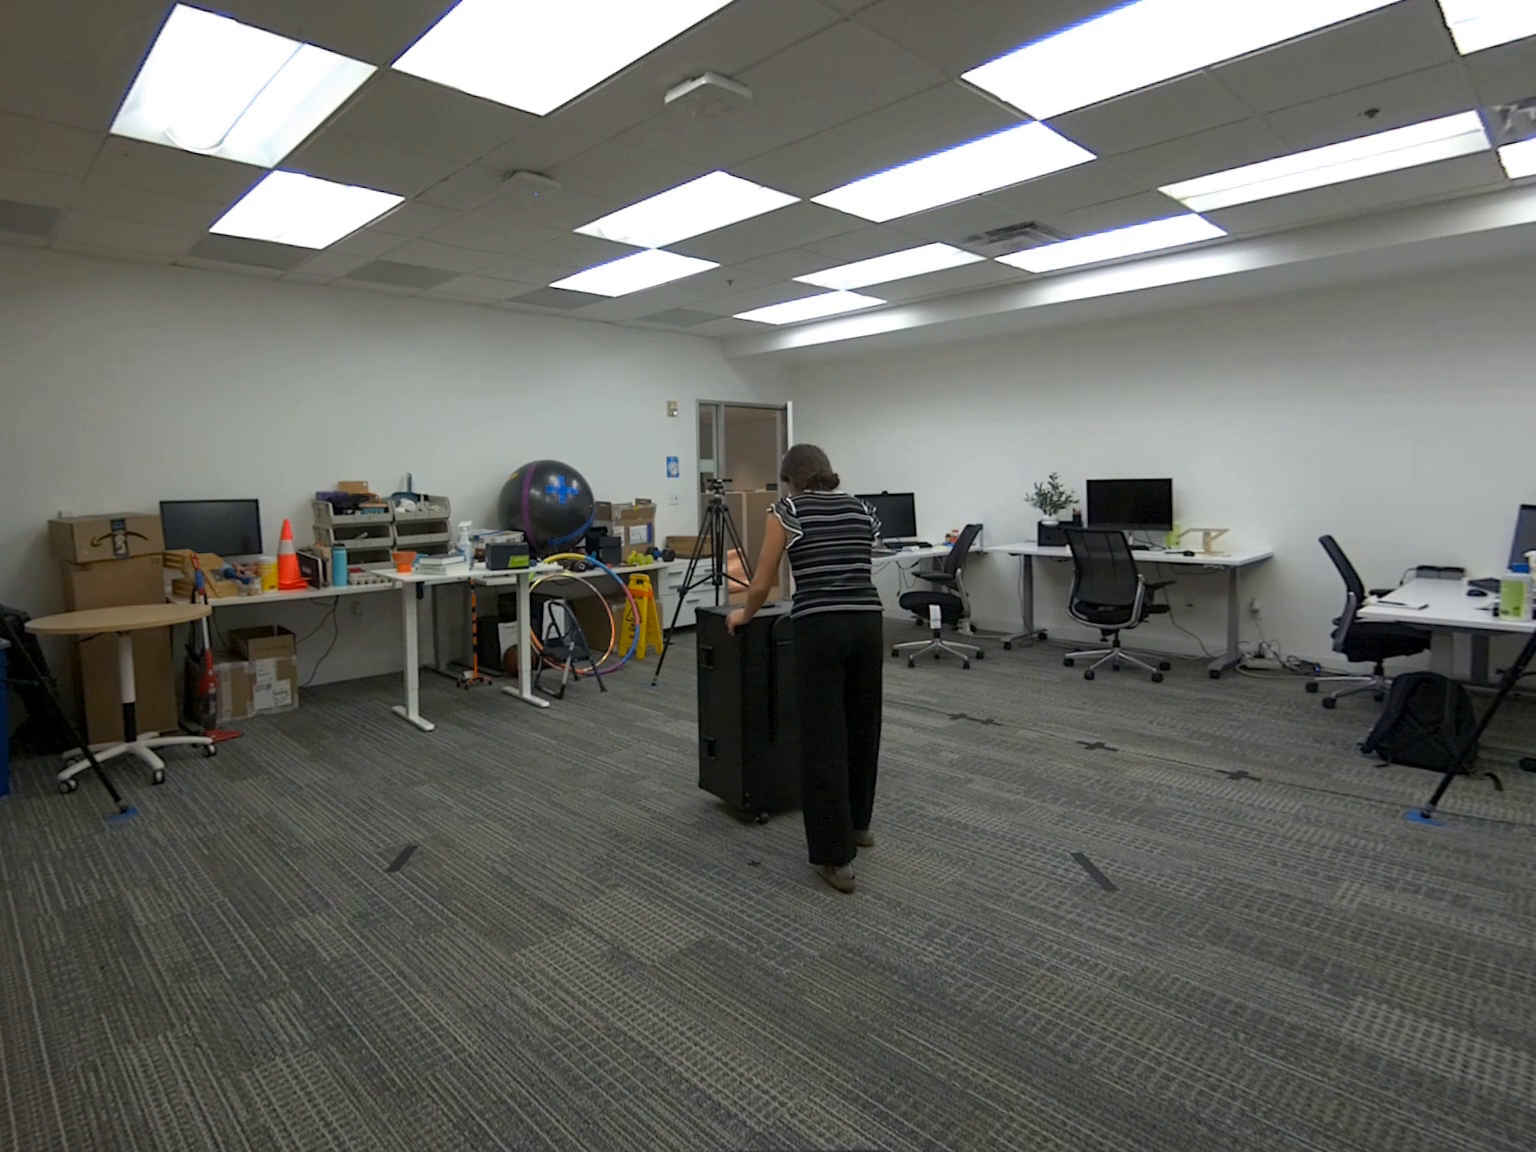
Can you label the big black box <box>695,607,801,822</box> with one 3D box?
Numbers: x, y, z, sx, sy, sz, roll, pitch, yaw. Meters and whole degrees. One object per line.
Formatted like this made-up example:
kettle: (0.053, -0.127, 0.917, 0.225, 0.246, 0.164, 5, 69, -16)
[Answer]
big black box: (0.000, 0.558, 3.642, 0.508, 0.858, 0.408, -3, 6, -33)
